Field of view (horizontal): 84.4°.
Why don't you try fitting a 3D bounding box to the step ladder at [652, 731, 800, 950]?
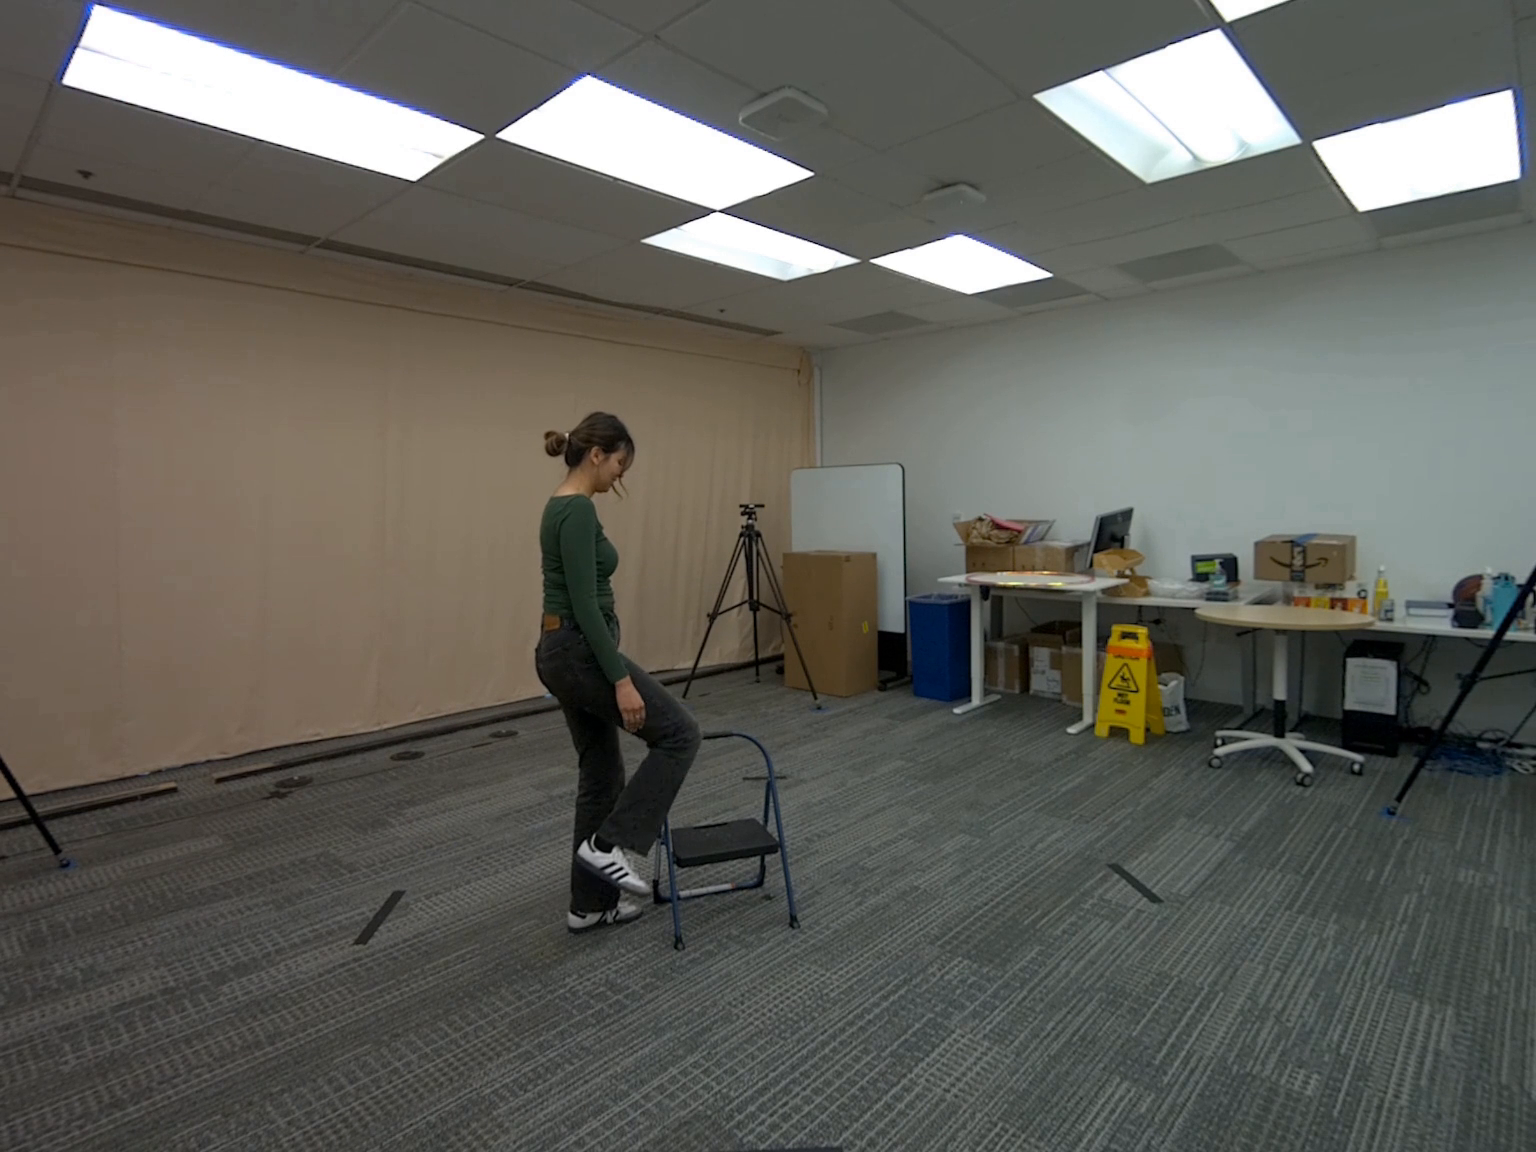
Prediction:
[{"bbox_3d":[-0.153,0.851,2.854,0.422,0.605,0.357,-2,3,-19],"label":"step ladder"}]
